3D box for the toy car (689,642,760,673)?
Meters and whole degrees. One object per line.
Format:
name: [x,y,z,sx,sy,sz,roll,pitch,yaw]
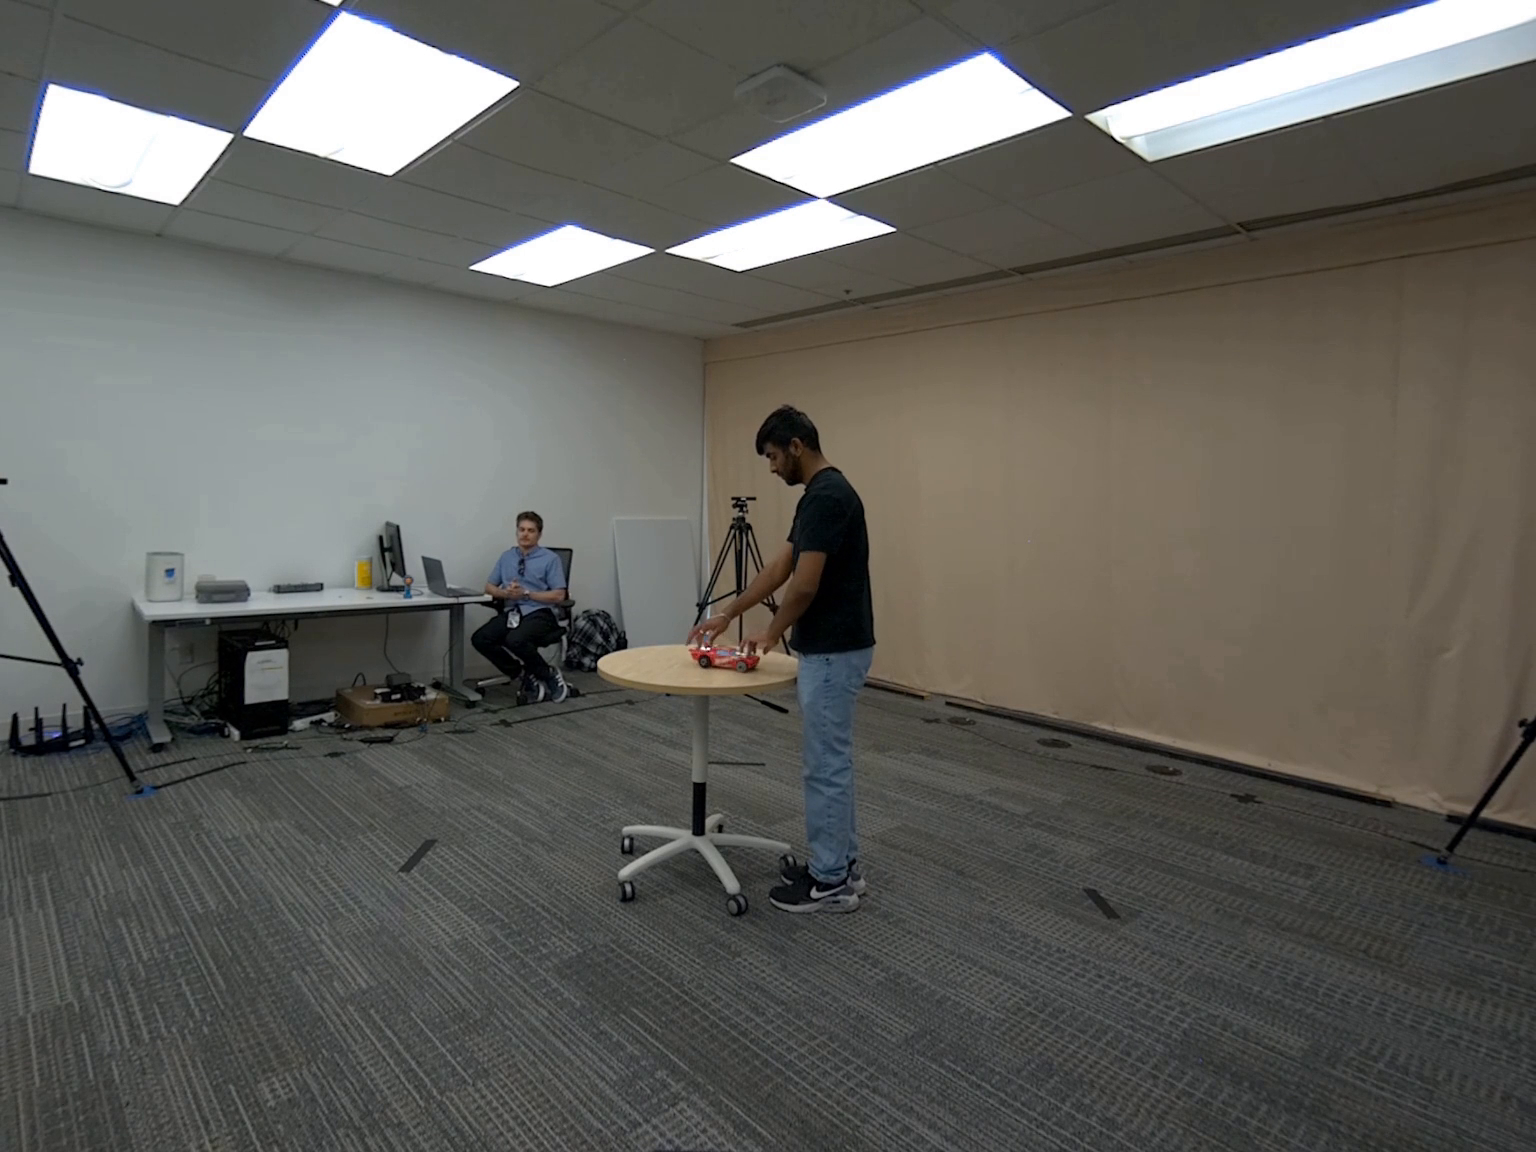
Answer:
toy car: [-0.168,0.297,3.043,0.259,0.083,0.128,16,9,19]
